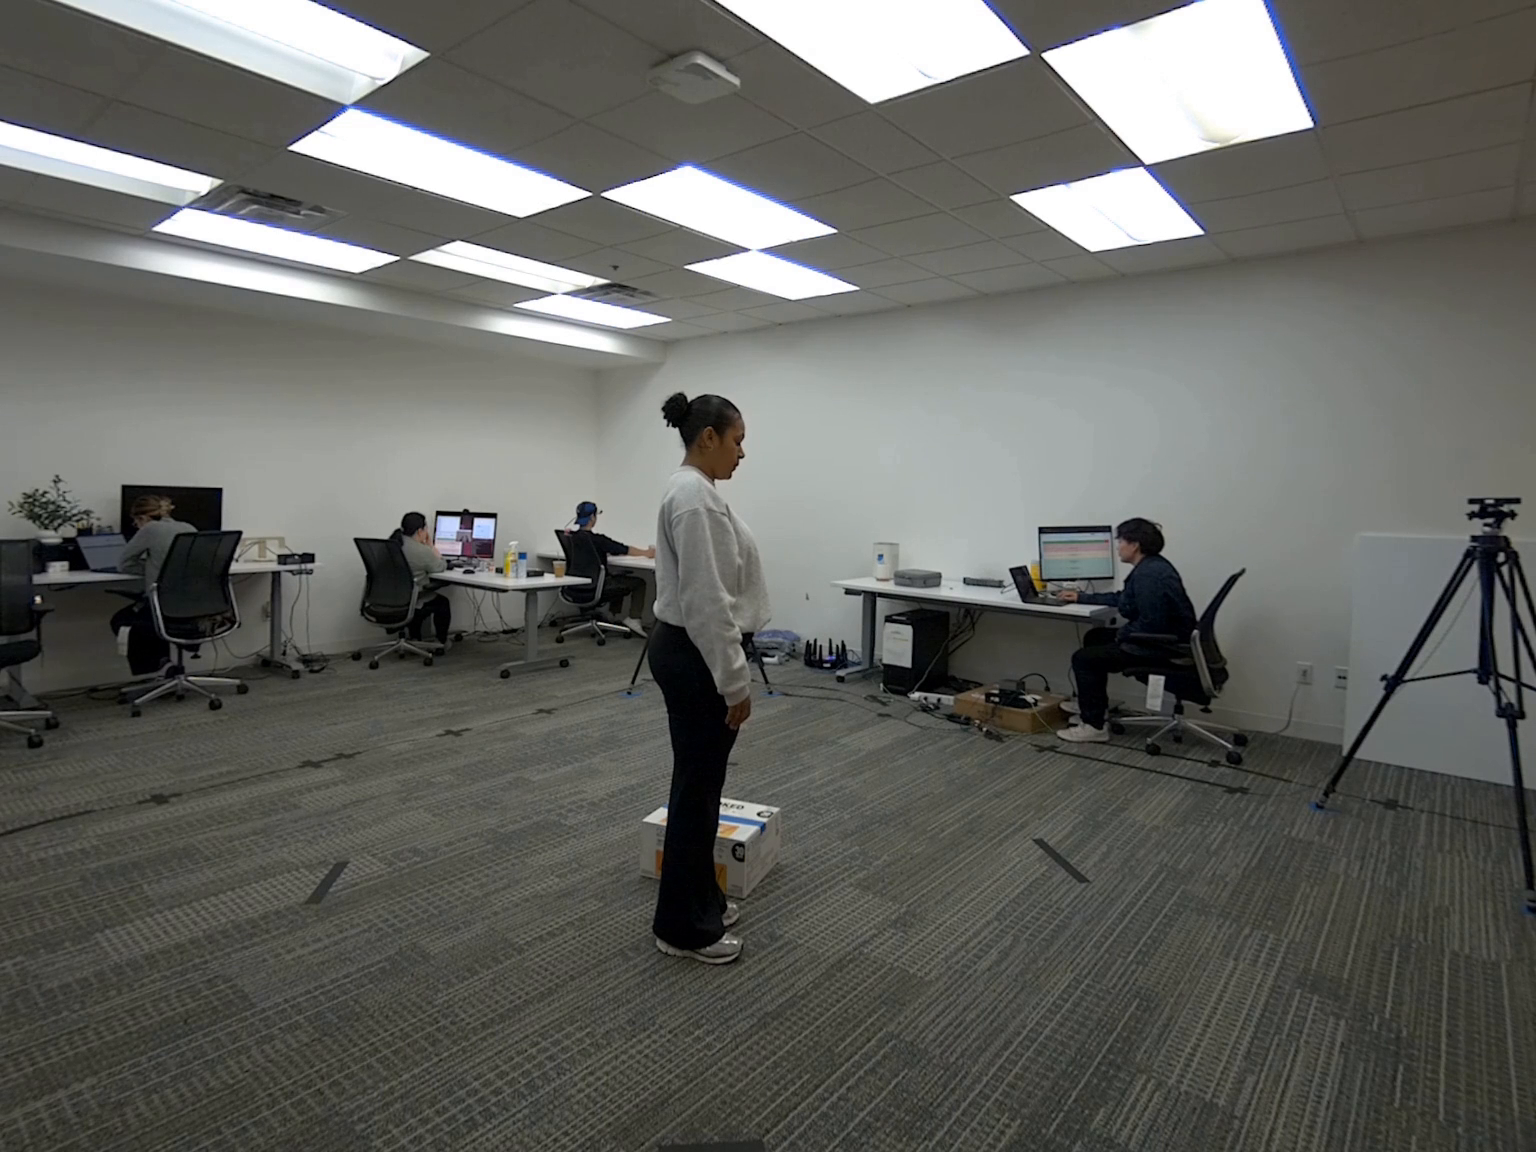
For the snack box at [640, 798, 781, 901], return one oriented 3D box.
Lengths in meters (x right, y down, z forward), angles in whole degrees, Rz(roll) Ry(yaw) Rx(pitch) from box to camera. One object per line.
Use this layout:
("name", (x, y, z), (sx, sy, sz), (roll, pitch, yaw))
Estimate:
("snack box", (-0.214, 0.967, 3.100), (0.415, 0.205, 0.333), (3, 6, 23))
